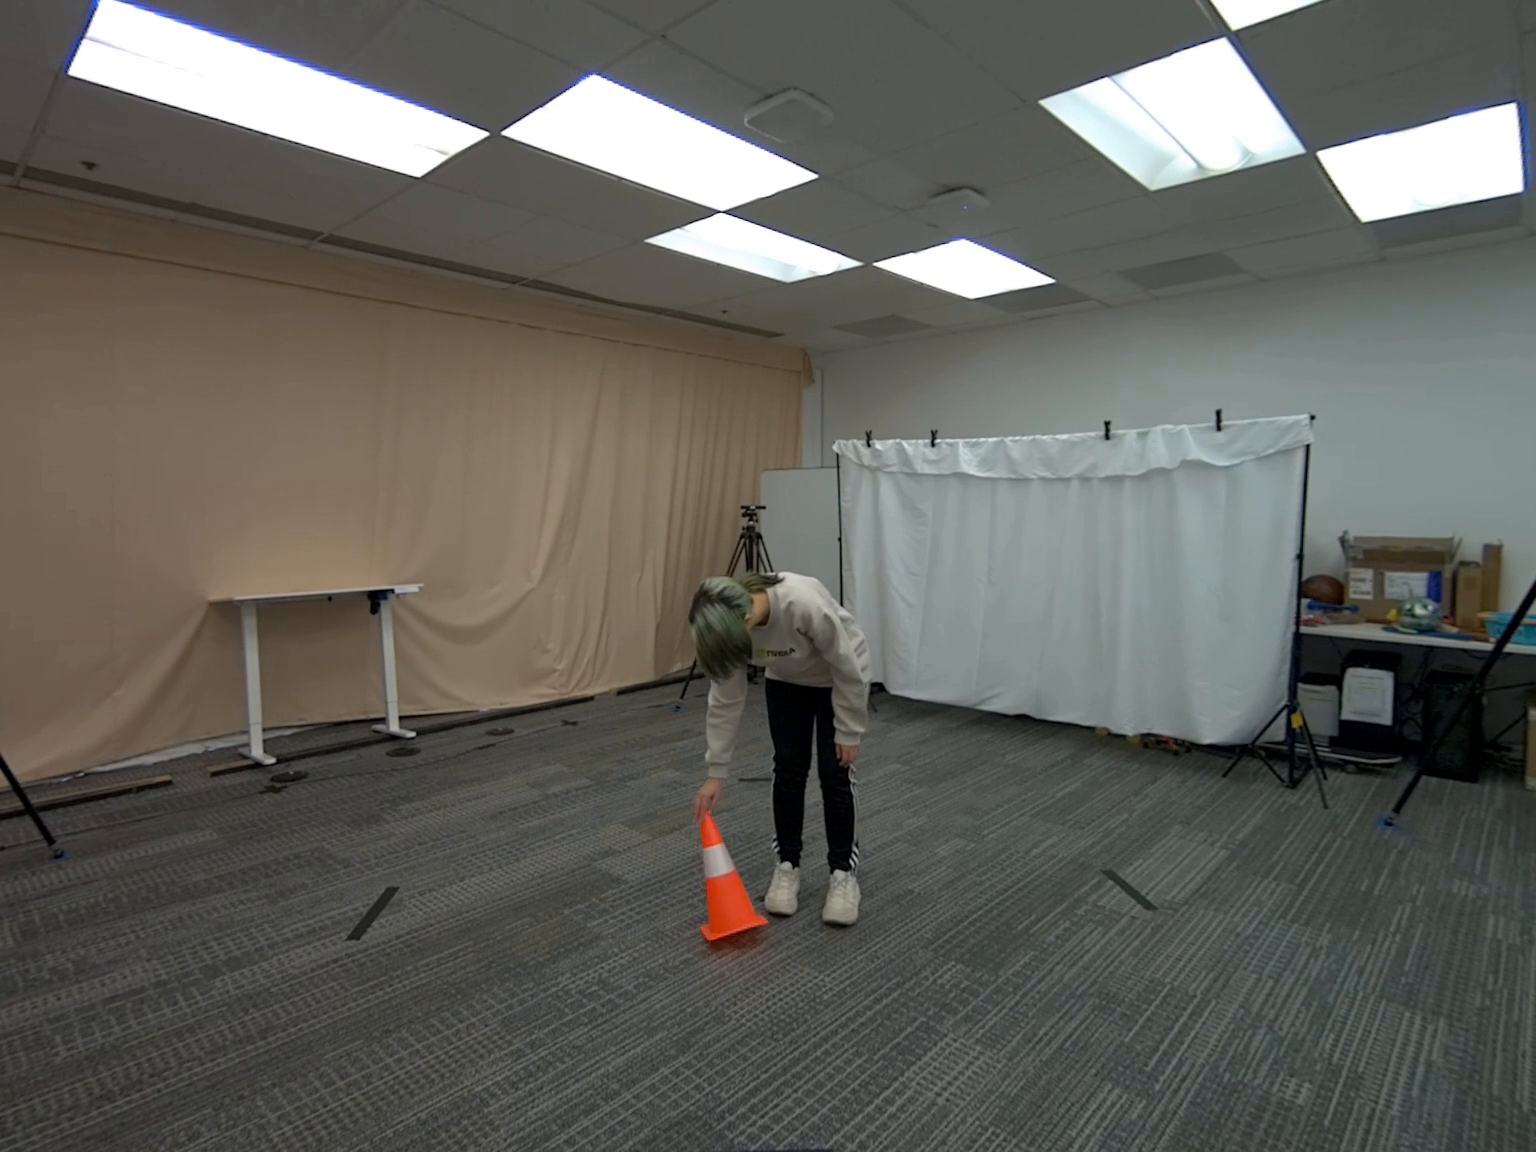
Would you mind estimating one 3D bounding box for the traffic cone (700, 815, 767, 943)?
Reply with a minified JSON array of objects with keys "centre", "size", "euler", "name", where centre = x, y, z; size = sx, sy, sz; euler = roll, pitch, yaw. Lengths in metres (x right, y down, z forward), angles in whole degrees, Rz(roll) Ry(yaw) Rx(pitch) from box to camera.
[{"centre":[-0.156,0.955,2.750],"size":[0.201,0.387,0.205],"euler":[-12,-11,-15],"name":"traffic cone"}]
